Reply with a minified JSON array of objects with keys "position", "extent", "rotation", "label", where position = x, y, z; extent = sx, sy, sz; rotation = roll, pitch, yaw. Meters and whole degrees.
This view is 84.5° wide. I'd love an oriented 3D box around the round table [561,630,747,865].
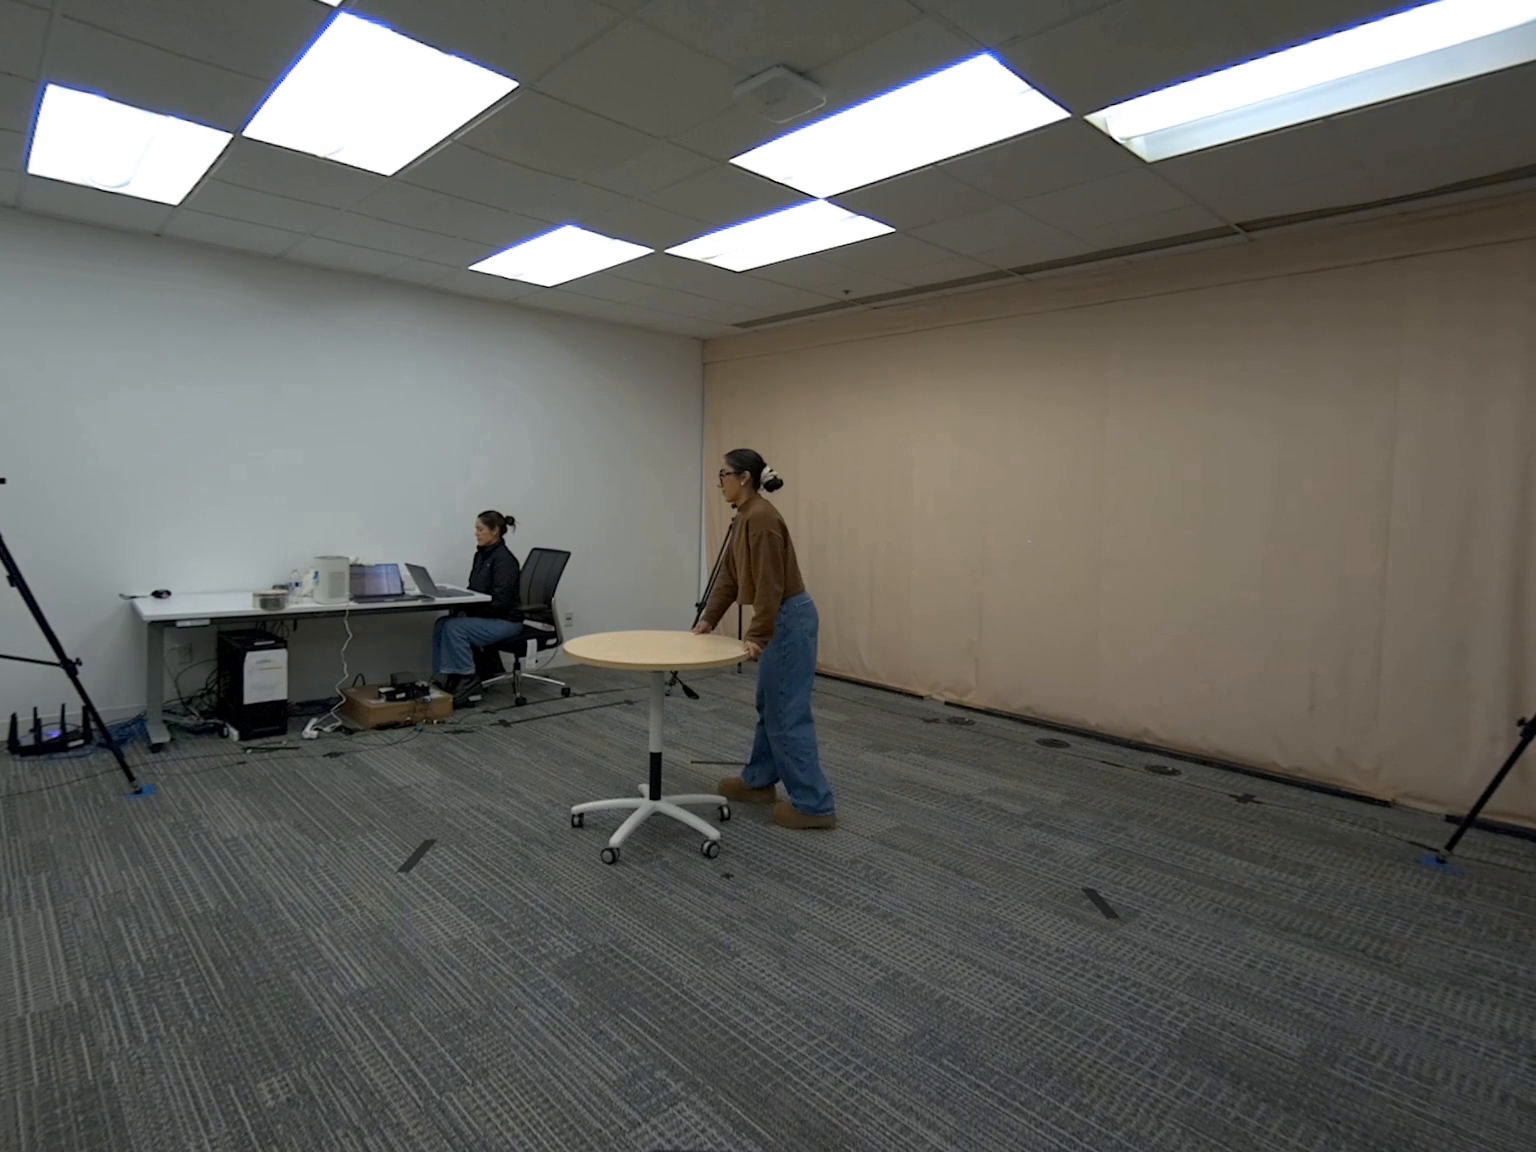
[{"position":[-0.459,0.675,3.458],"extent":[0.784,0.784,0.788],"rotation":[1,4,-1],"label":"round table"}]
